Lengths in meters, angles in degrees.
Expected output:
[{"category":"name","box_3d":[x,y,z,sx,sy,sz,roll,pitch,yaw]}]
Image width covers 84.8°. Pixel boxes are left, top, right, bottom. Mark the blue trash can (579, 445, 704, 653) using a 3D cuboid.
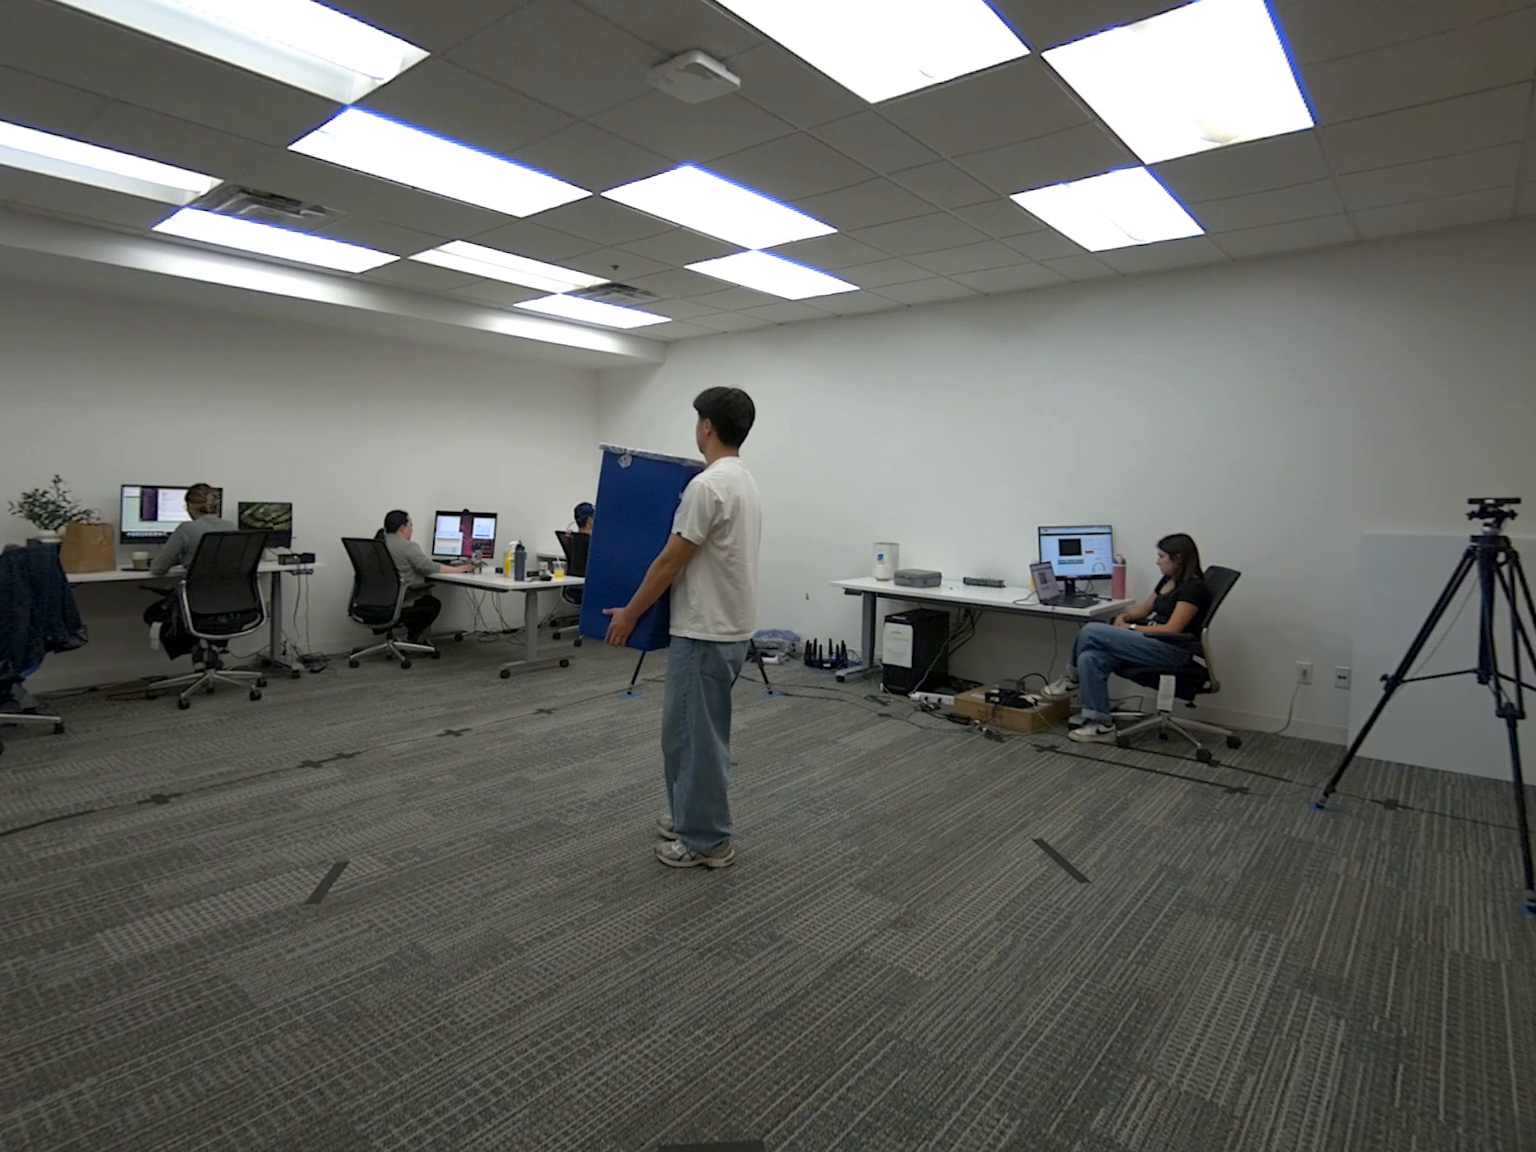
[{"category":"blue trash can","box_3d":[-0.480,-0.117,3.254,0.387,0.711,0.367,12,5,18]}]
